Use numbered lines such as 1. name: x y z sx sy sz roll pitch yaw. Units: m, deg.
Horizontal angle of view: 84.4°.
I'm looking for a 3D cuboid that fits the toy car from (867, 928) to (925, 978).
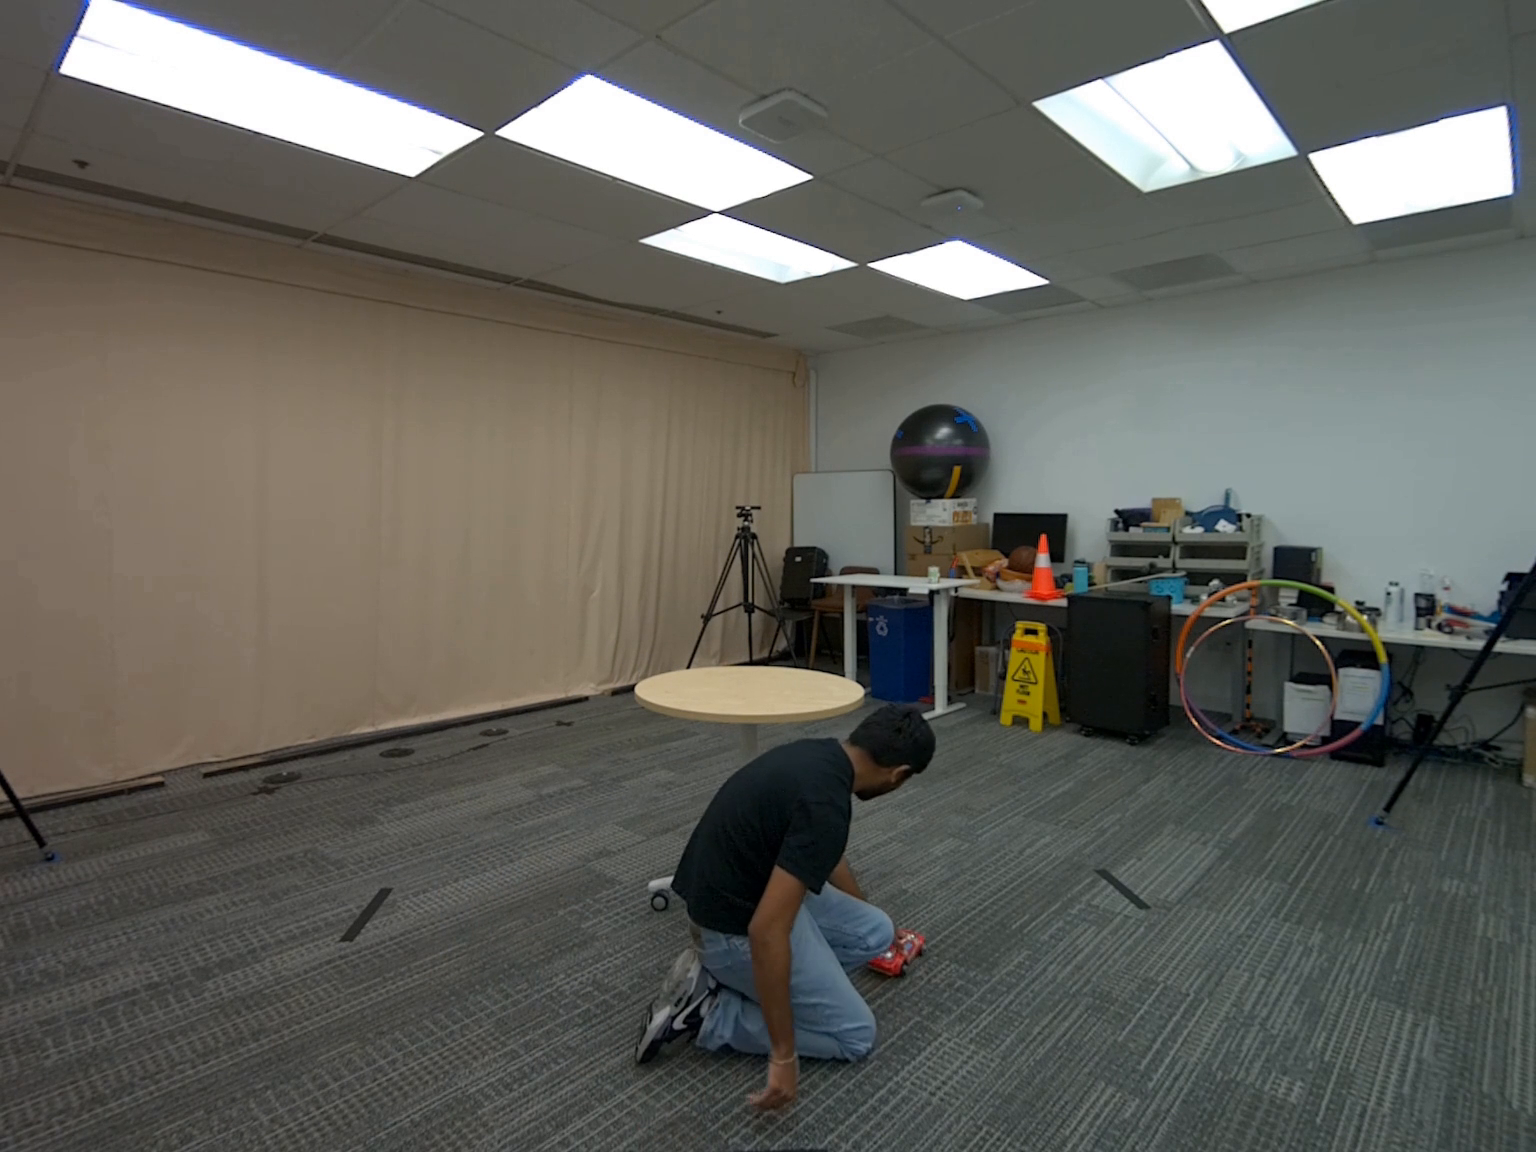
1. toy car: 0.381 1.141 2.562 0.134 0.083 0.246 3 -4 35
